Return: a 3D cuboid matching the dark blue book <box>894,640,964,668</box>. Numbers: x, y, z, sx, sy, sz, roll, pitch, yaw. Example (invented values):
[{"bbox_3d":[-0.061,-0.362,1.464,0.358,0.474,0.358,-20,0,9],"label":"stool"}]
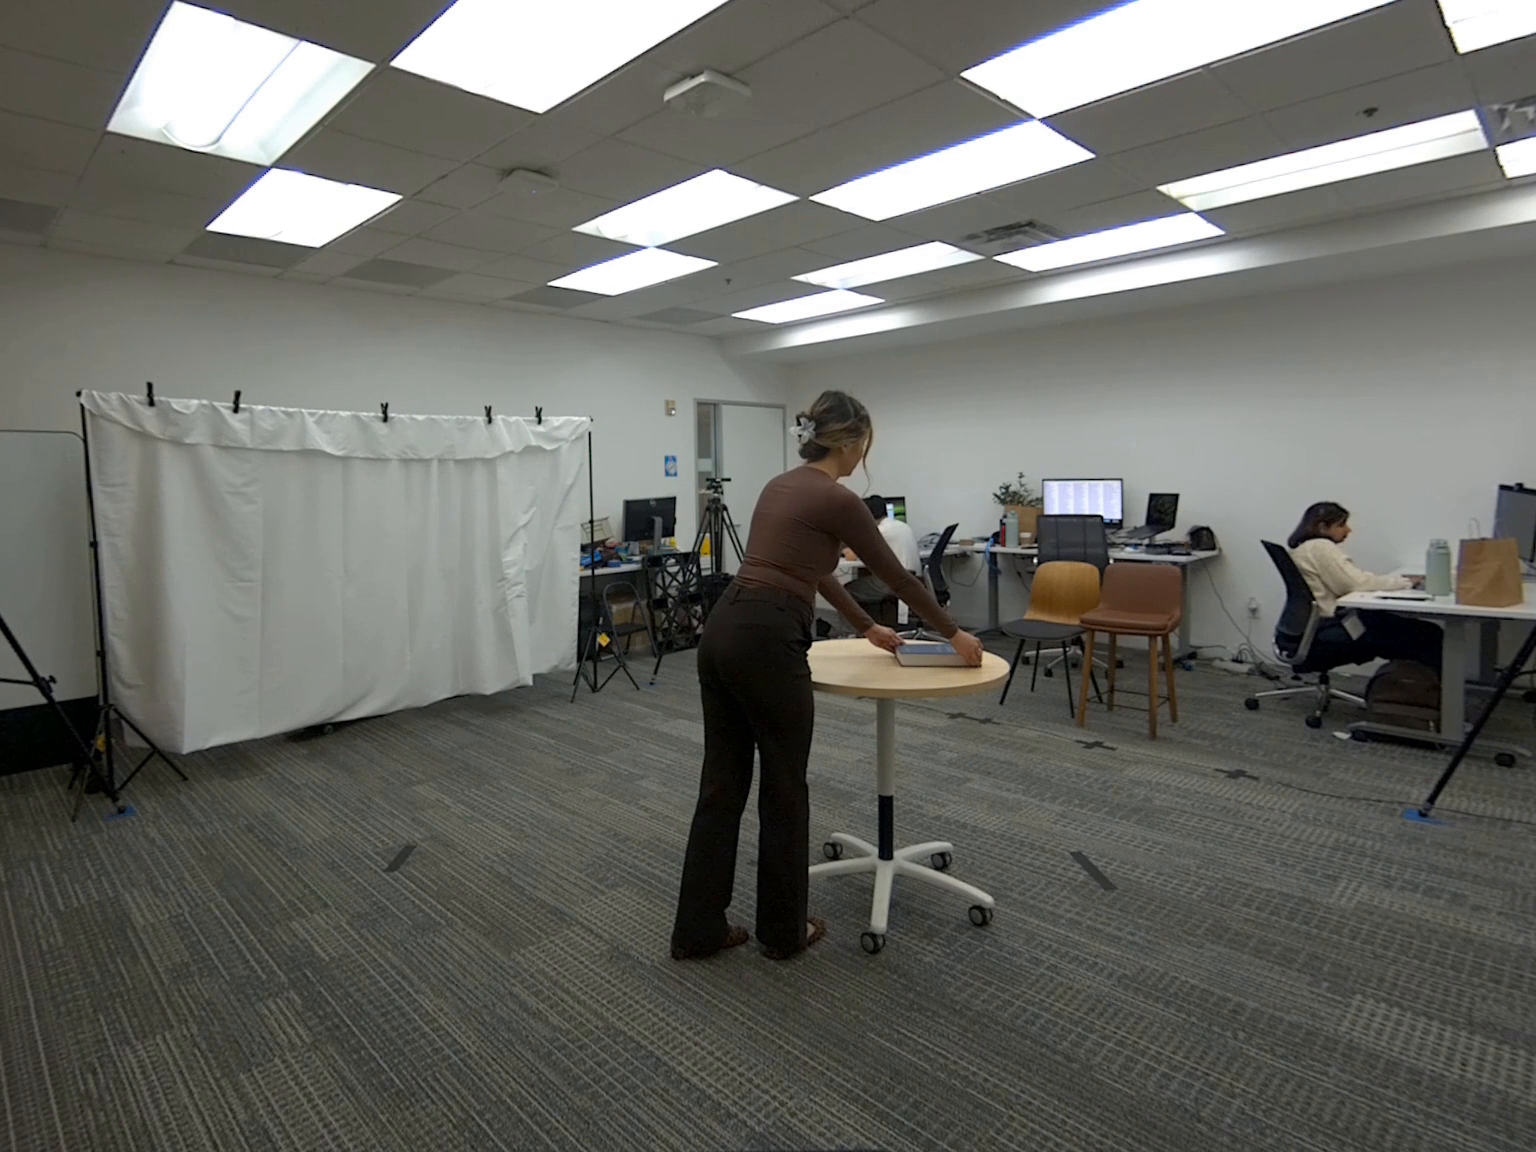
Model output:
[{"bbox_3d":[0.561,0.258,2.753,0.246,0.045,0.164,-1,6,3],"label":"dark blue book"}]
